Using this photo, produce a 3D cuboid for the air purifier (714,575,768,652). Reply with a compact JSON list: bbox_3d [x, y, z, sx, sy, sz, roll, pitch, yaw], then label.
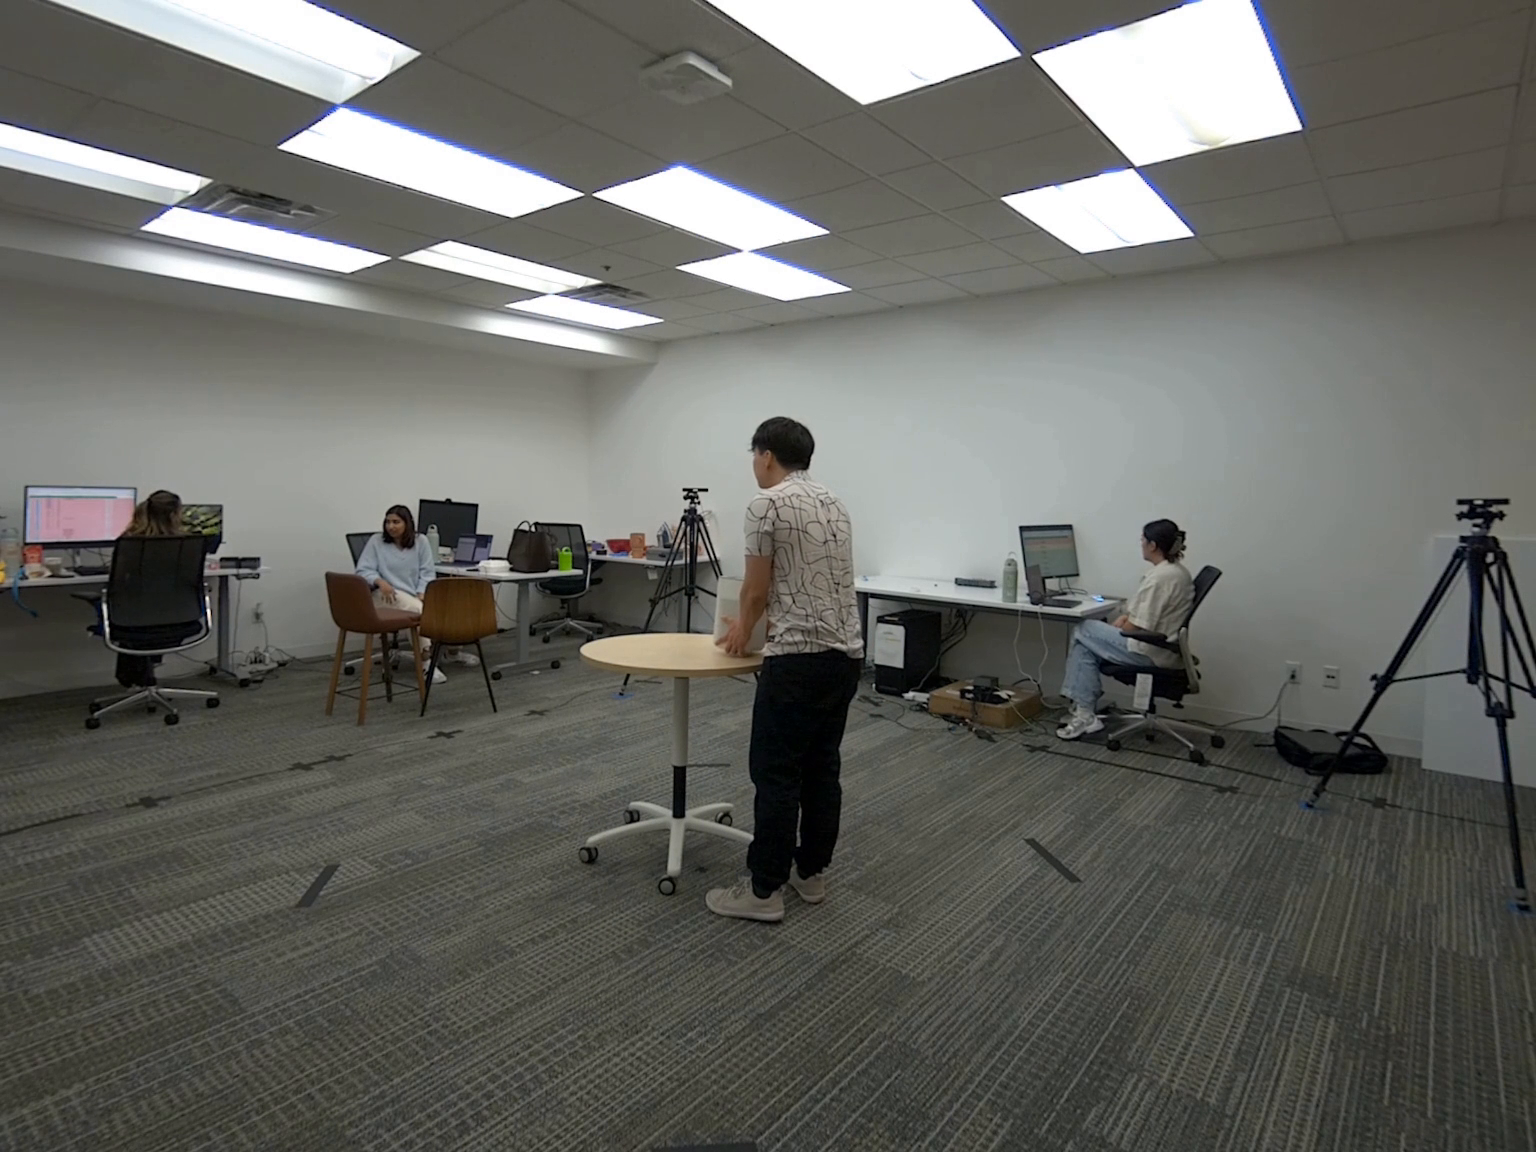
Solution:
[{"bbox_3d":[-0.111,0.139,3.156,0.176,0.265,0.166,4,1,28],"label":"air purifier"}]
